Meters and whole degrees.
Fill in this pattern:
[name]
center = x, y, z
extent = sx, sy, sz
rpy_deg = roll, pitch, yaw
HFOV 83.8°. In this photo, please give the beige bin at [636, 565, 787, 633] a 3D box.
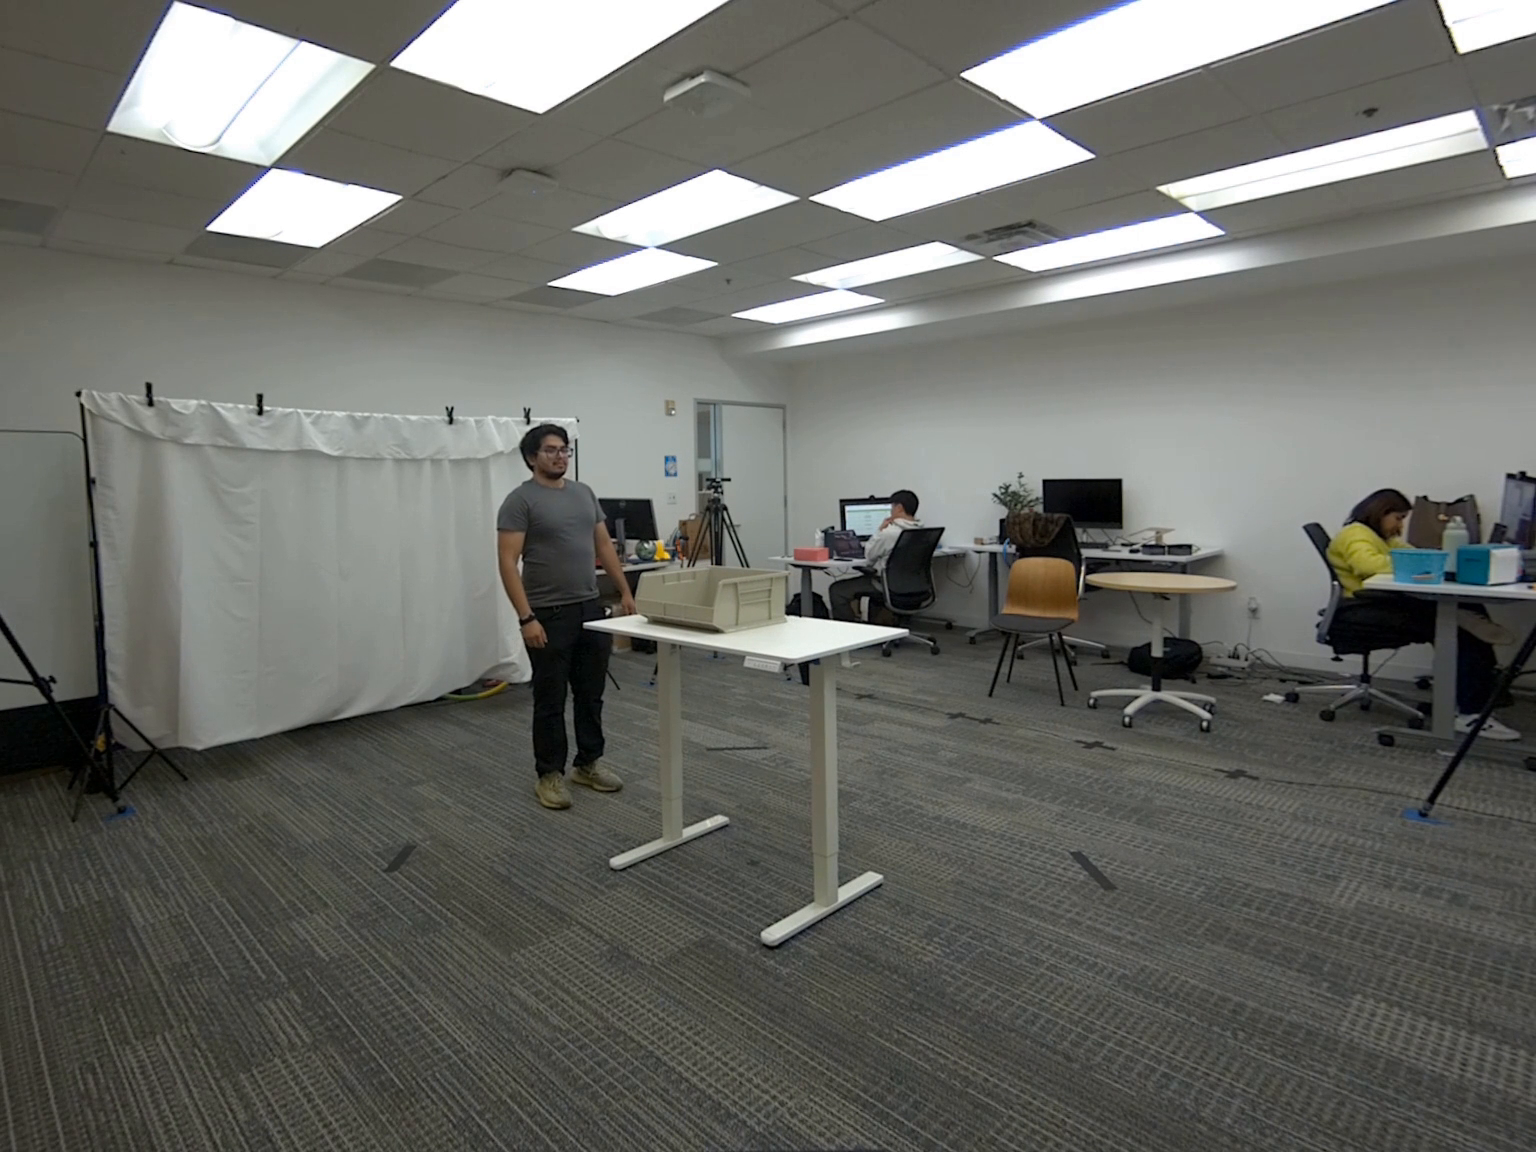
[beige bin]
center = -0.199, 0.079, 3.061
extent = 0.435, 0.188, 0.367
rpy_deg = 4, 6, 44
